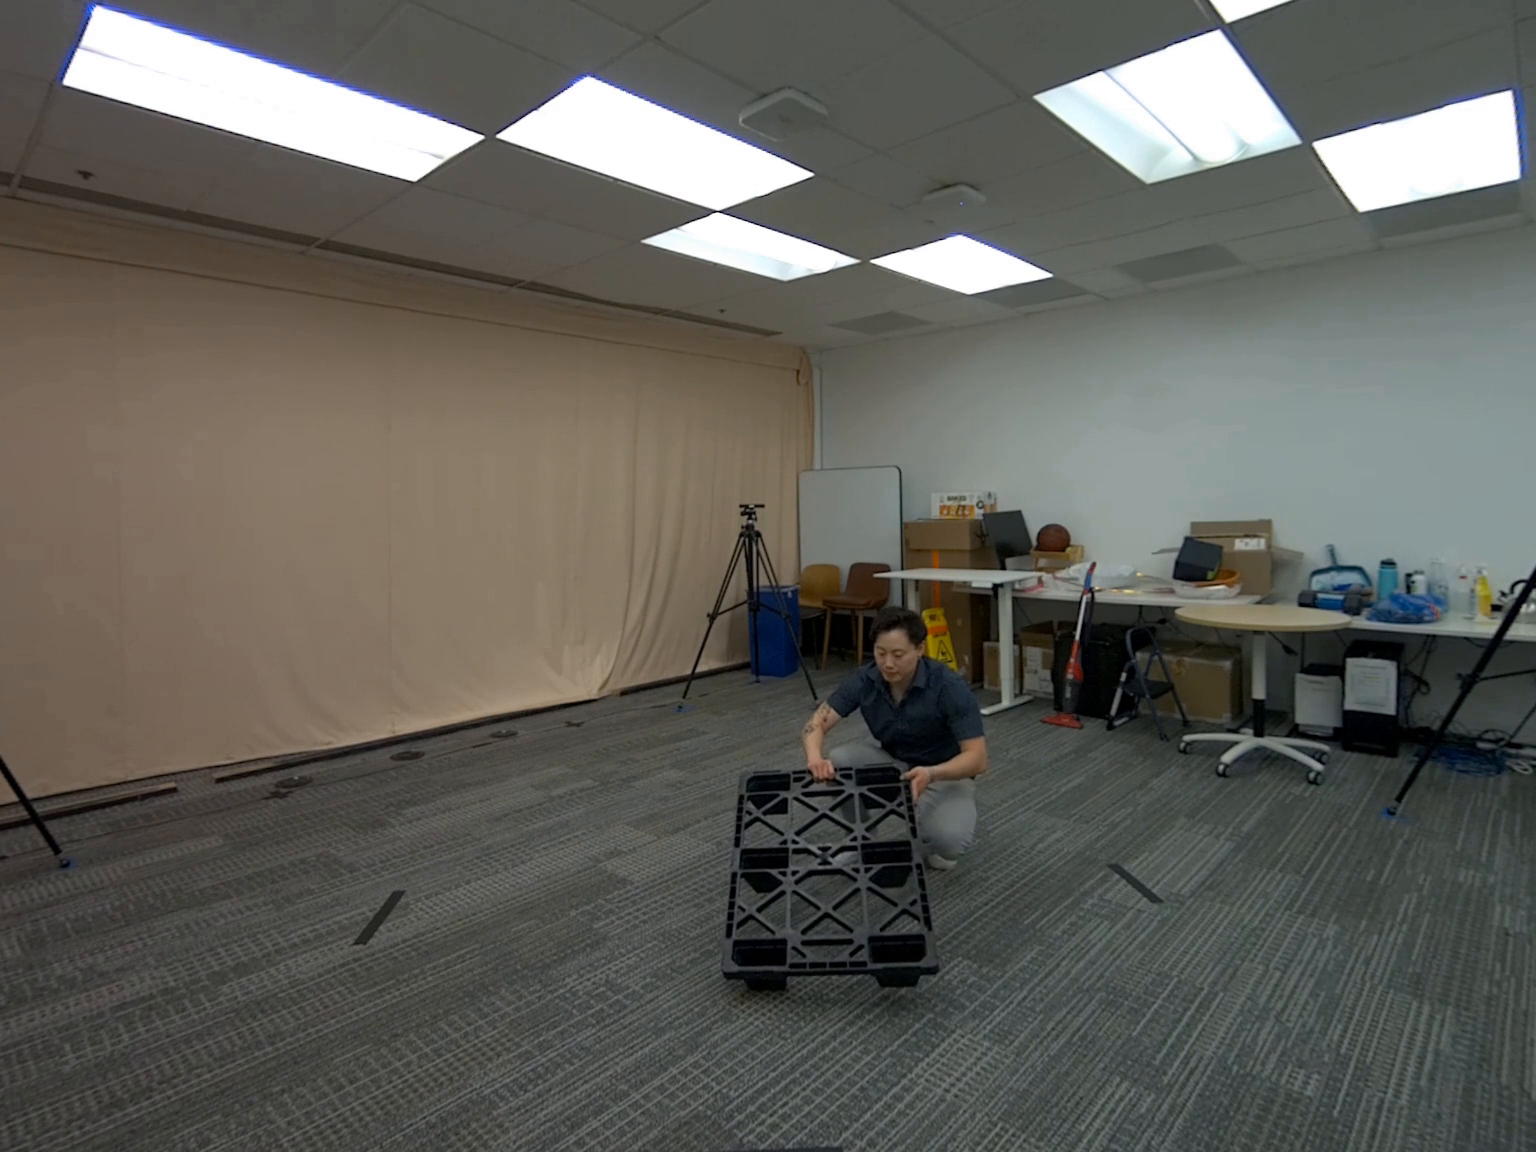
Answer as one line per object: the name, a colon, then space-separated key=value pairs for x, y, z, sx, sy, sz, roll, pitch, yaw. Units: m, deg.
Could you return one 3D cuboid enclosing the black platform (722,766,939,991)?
black platform: x=0.194 y=0.928 z=2.678 sx=0.610 sy=0.140 sz=0.814 roll=-5 pitch=30 yaw=8
